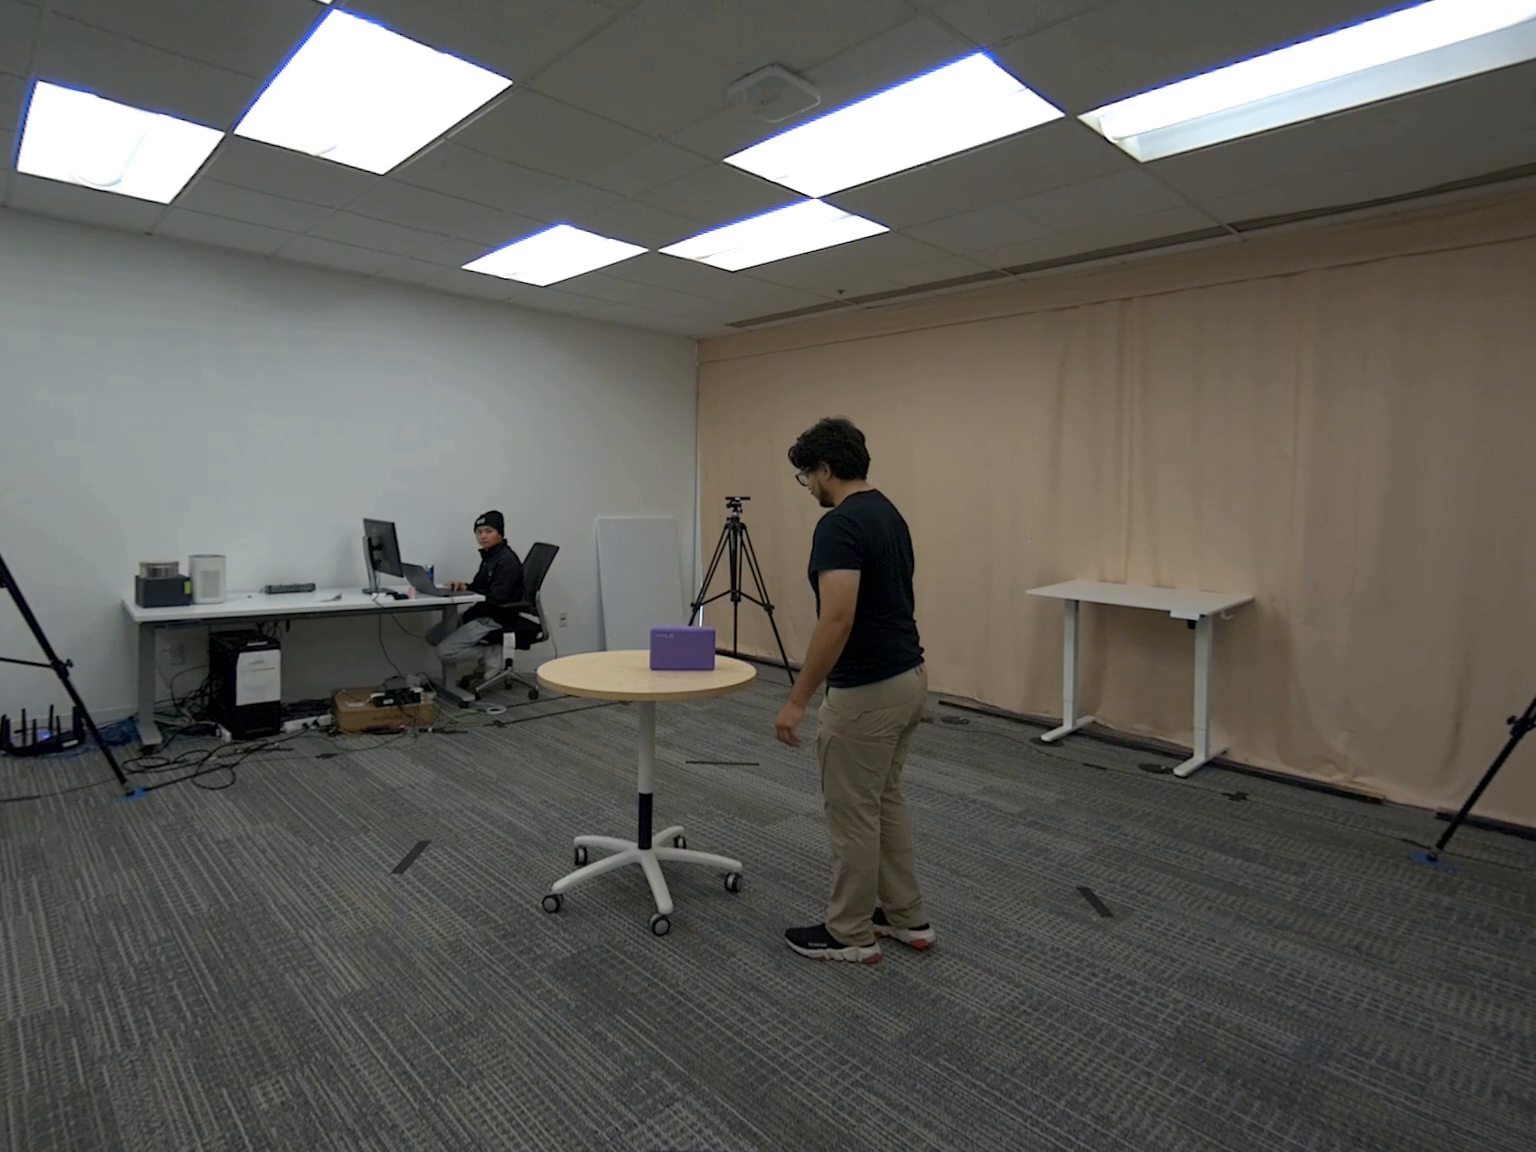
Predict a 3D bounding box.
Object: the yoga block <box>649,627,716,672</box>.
[{"bbox_3d":[-0.312,0.257,2.976,0.229,0.149,0.077,1,3,-1],"label":"yoga block"}]
